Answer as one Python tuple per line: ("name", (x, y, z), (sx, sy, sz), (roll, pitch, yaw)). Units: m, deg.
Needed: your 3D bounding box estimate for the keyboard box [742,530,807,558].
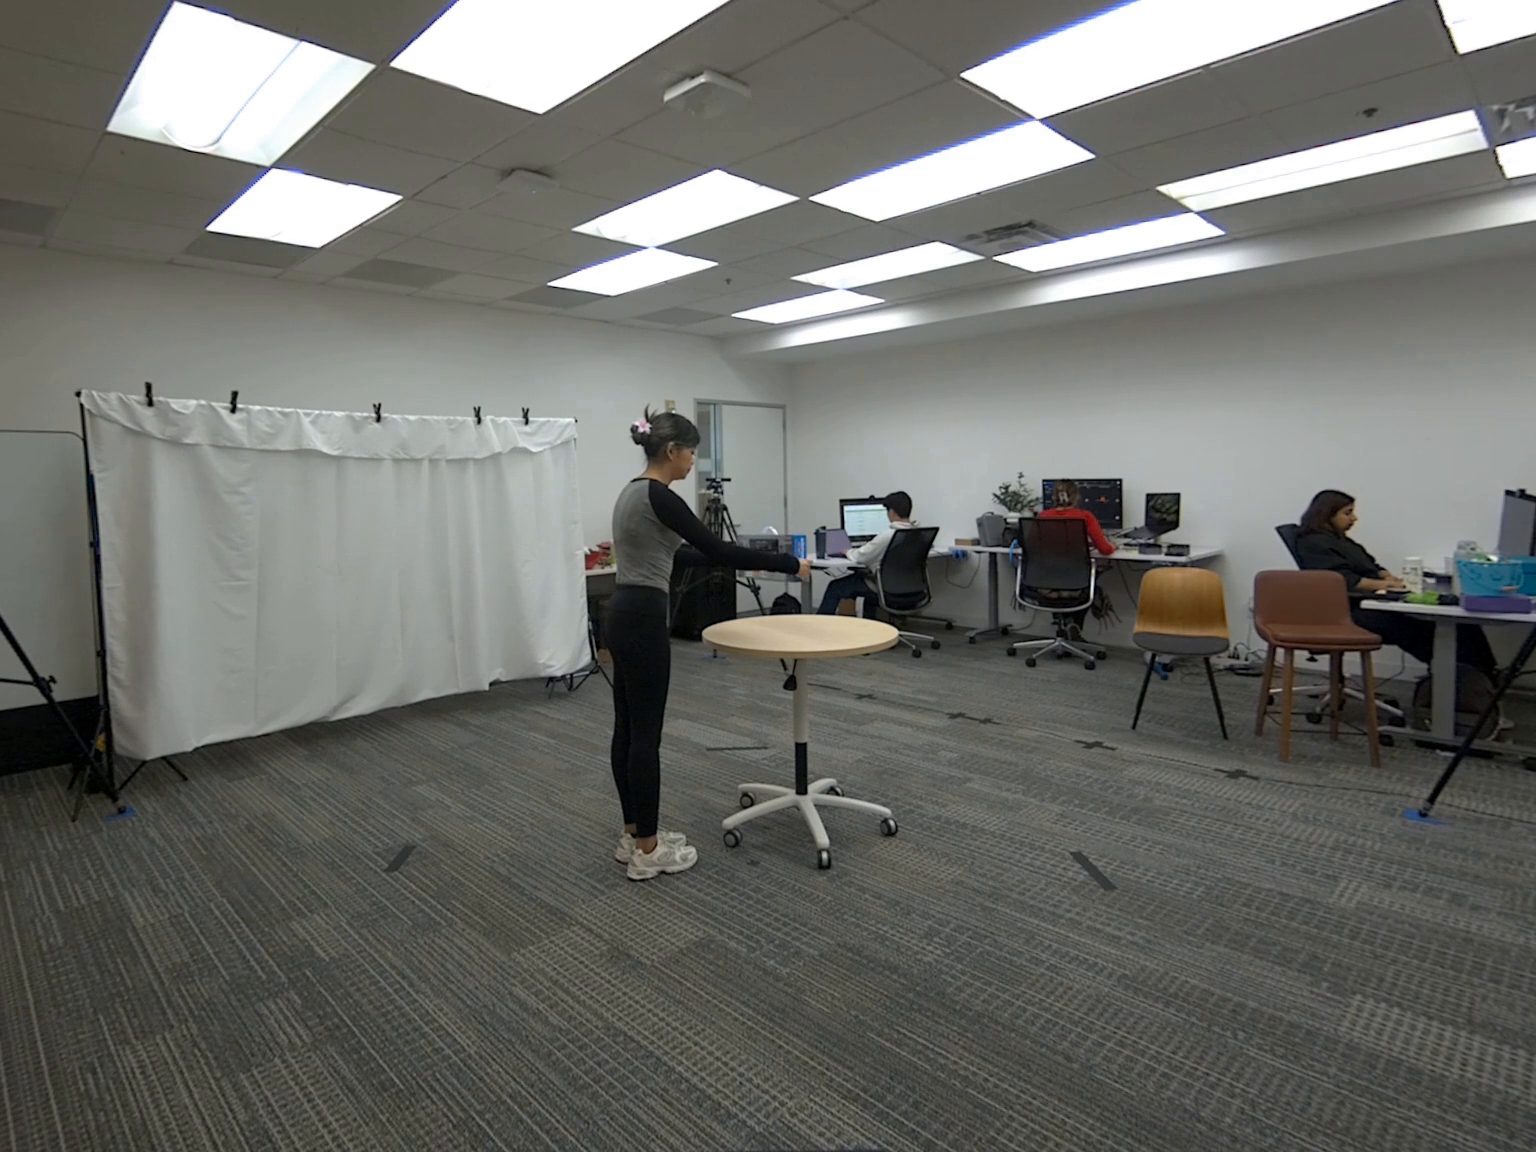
("keyboard box", (0.009, -0.069, 3.283), (0.058, 0.175, 0.448), (-3, 4, -29))
